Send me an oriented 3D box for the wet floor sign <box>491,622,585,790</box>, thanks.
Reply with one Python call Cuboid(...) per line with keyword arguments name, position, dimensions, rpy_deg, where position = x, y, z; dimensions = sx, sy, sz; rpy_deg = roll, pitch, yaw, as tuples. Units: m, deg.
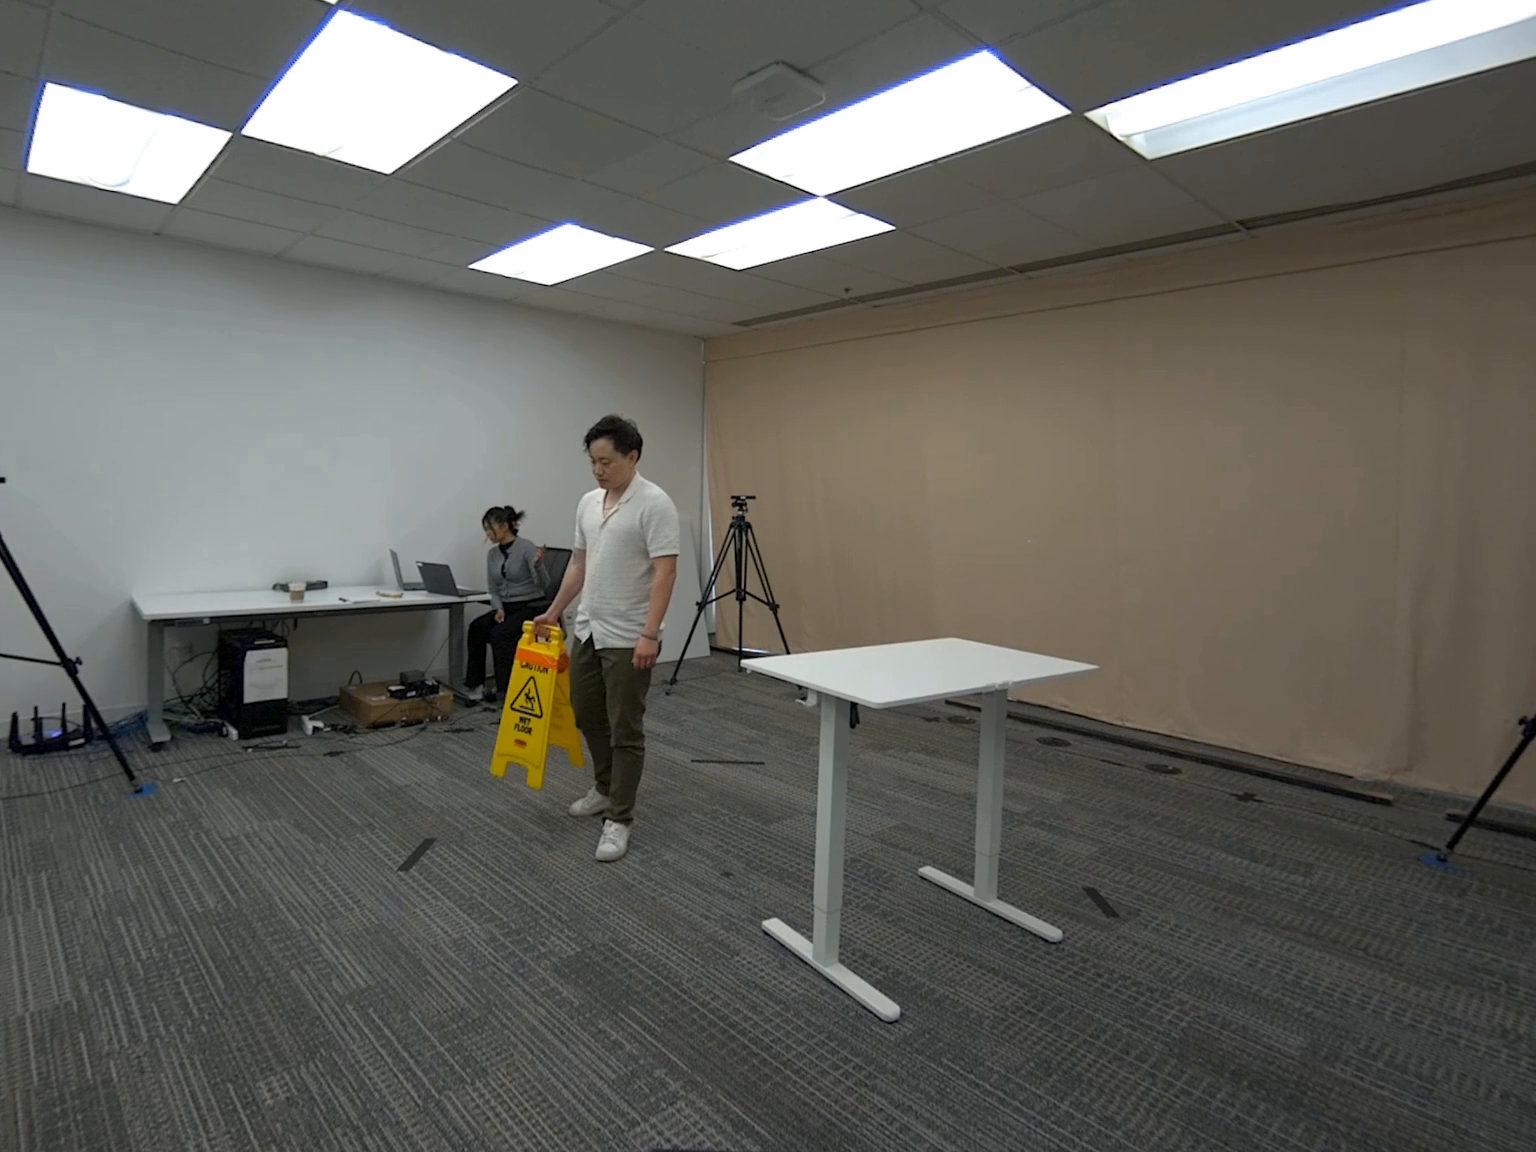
Cuboid(name="wet floor sign", position=(-0.978, 0.520, 3.590), dimensions=(0.288, 0.642, 0.285), rpy_deg=(9, 9, 26))
